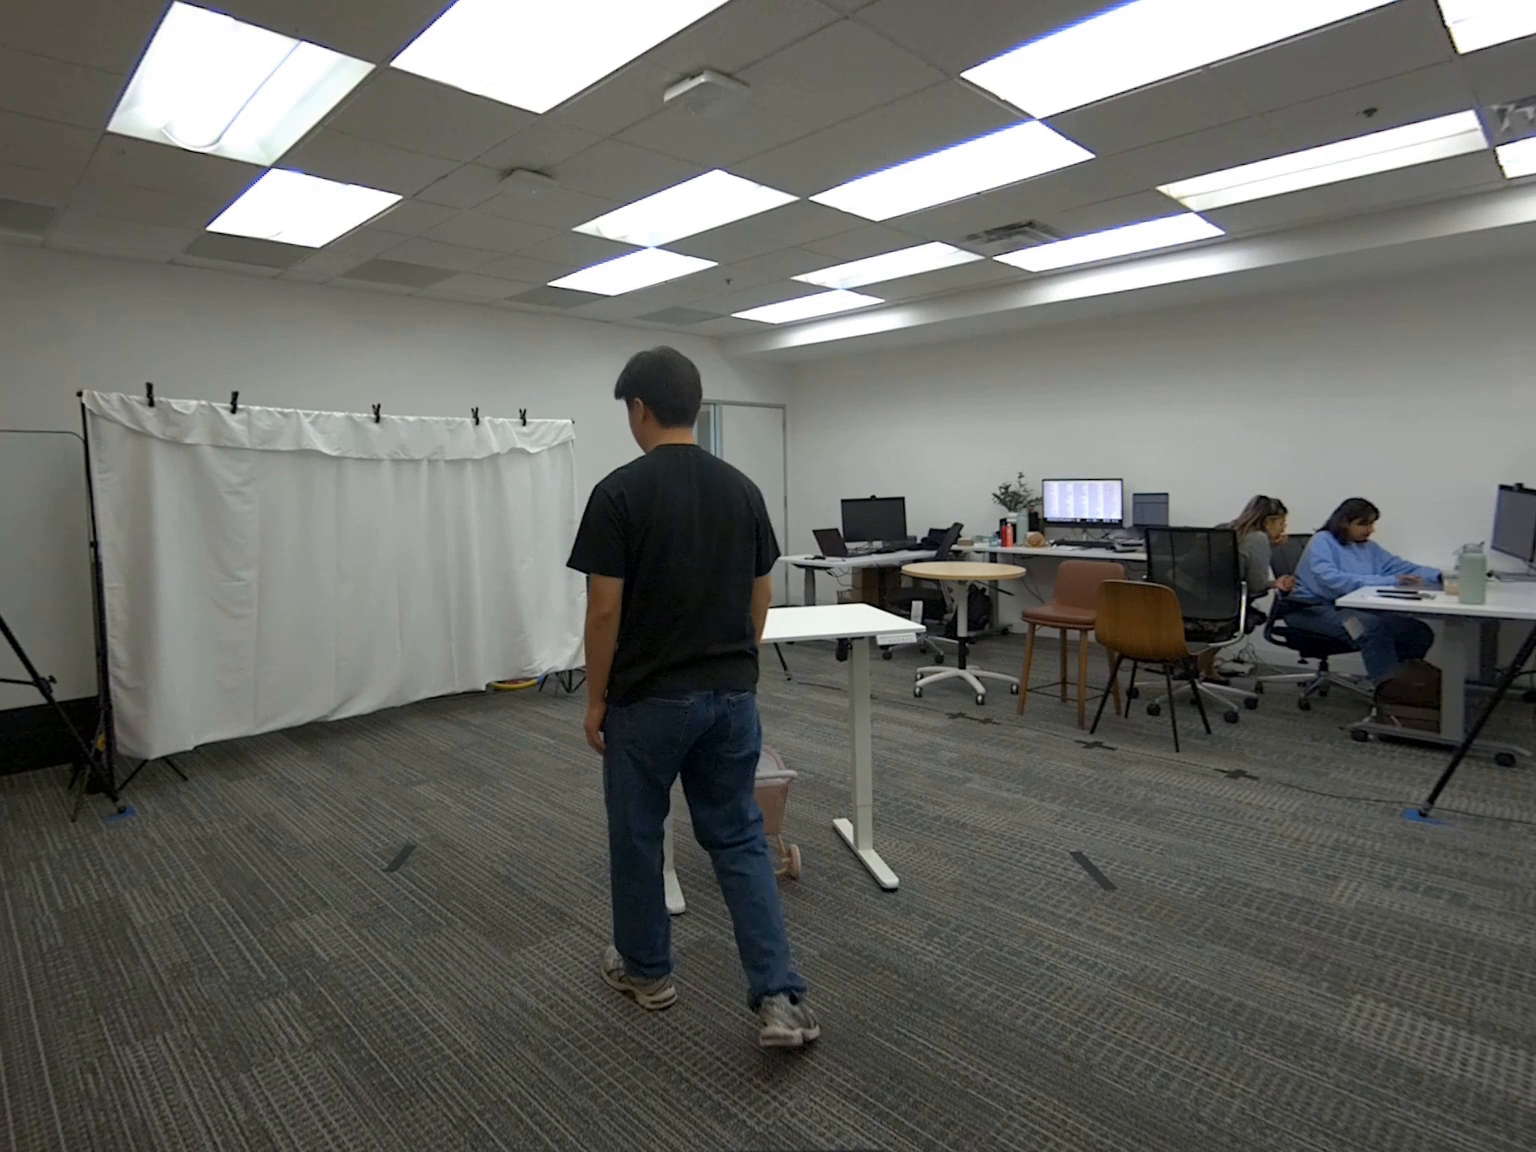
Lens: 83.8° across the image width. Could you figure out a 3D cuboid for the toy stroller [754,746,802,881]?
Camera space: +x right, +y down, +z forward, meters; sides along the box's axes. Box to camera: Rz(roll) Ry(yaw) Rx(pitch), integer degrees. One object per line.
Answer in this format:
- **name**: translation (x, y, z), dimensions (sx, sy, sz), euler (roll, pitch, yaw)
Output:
- **toy stroller**: translation (-0.039, 0.826, 3.022), dimensions (0.279, 0.526, 0.349), euler (-1, 20, -9)
